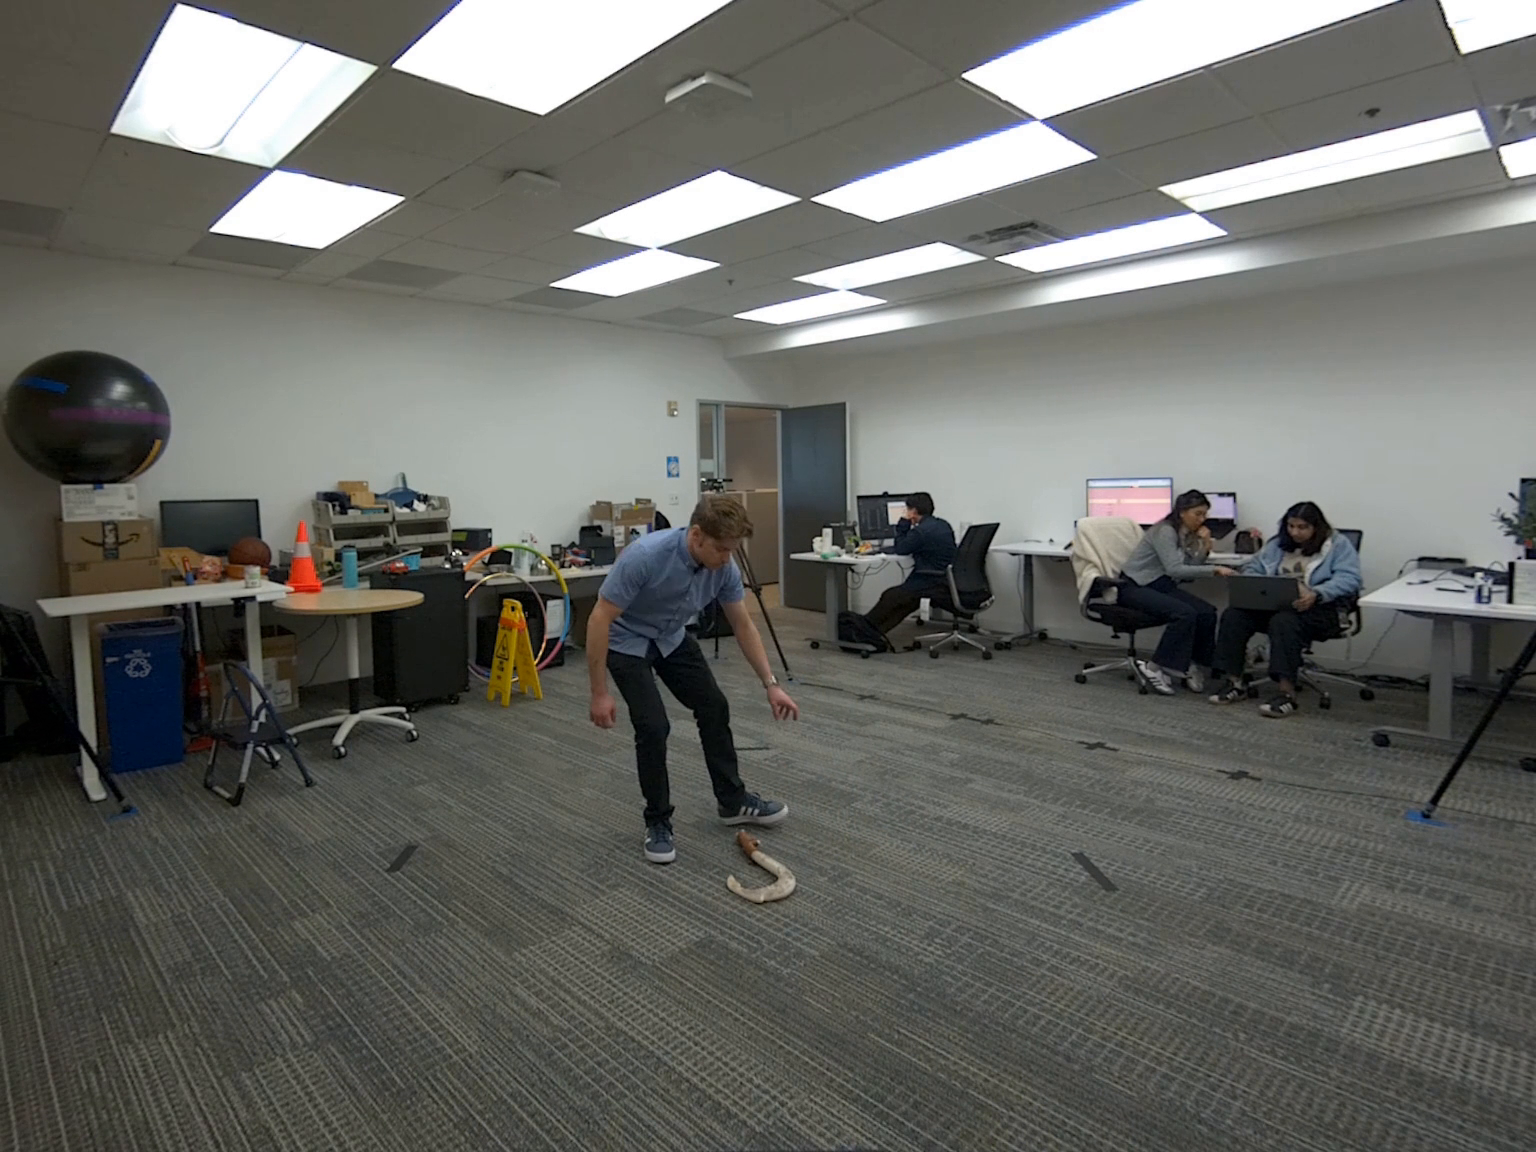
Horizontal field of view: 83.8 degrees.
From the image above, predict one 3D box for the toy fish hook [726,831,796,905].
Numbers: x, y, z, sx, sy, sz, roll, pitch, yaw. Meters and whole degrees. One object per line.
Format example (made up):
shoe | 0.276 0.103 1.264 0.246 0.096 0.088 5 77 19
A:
toy fish hook | -0.065 1.031 3.051 0.221 0.048 0.517 -3 6 -19
